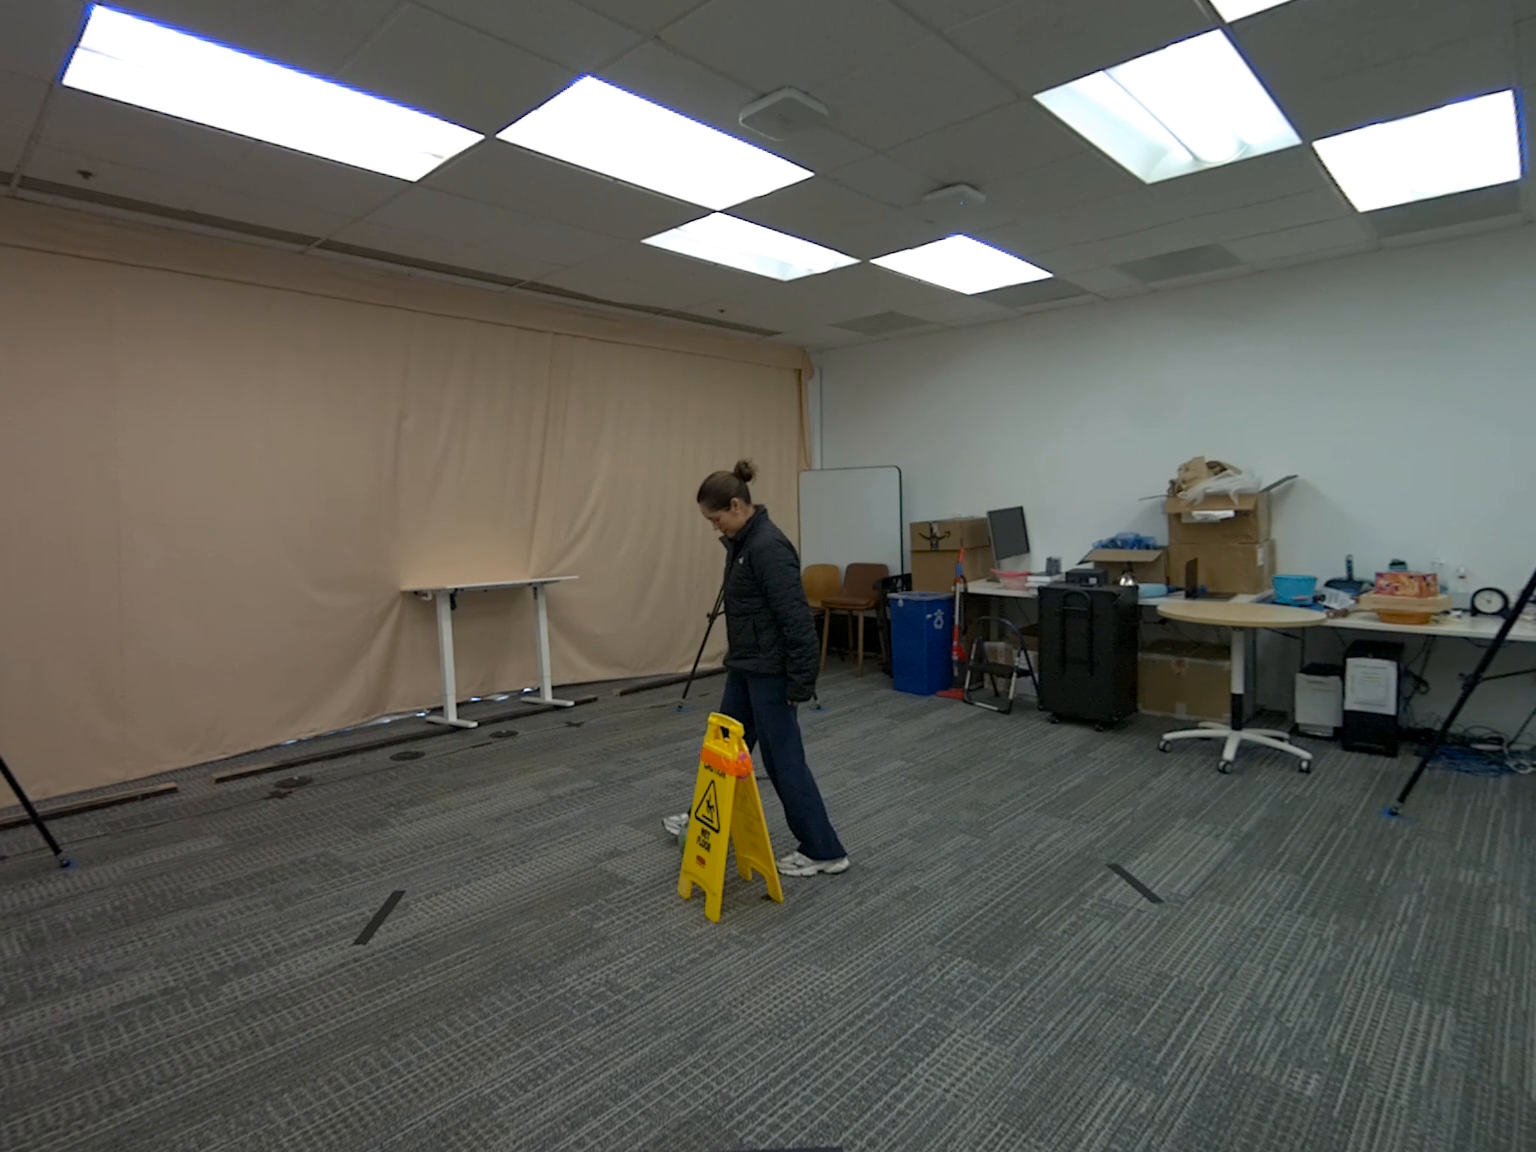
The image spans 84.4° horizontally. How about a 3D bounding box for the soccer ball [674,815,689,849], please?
[{"bbox_3d":[-0.258,1.018,3.269,0.187,0.187,0.188,-1,4,-2],"label":"soccer ball"}]
